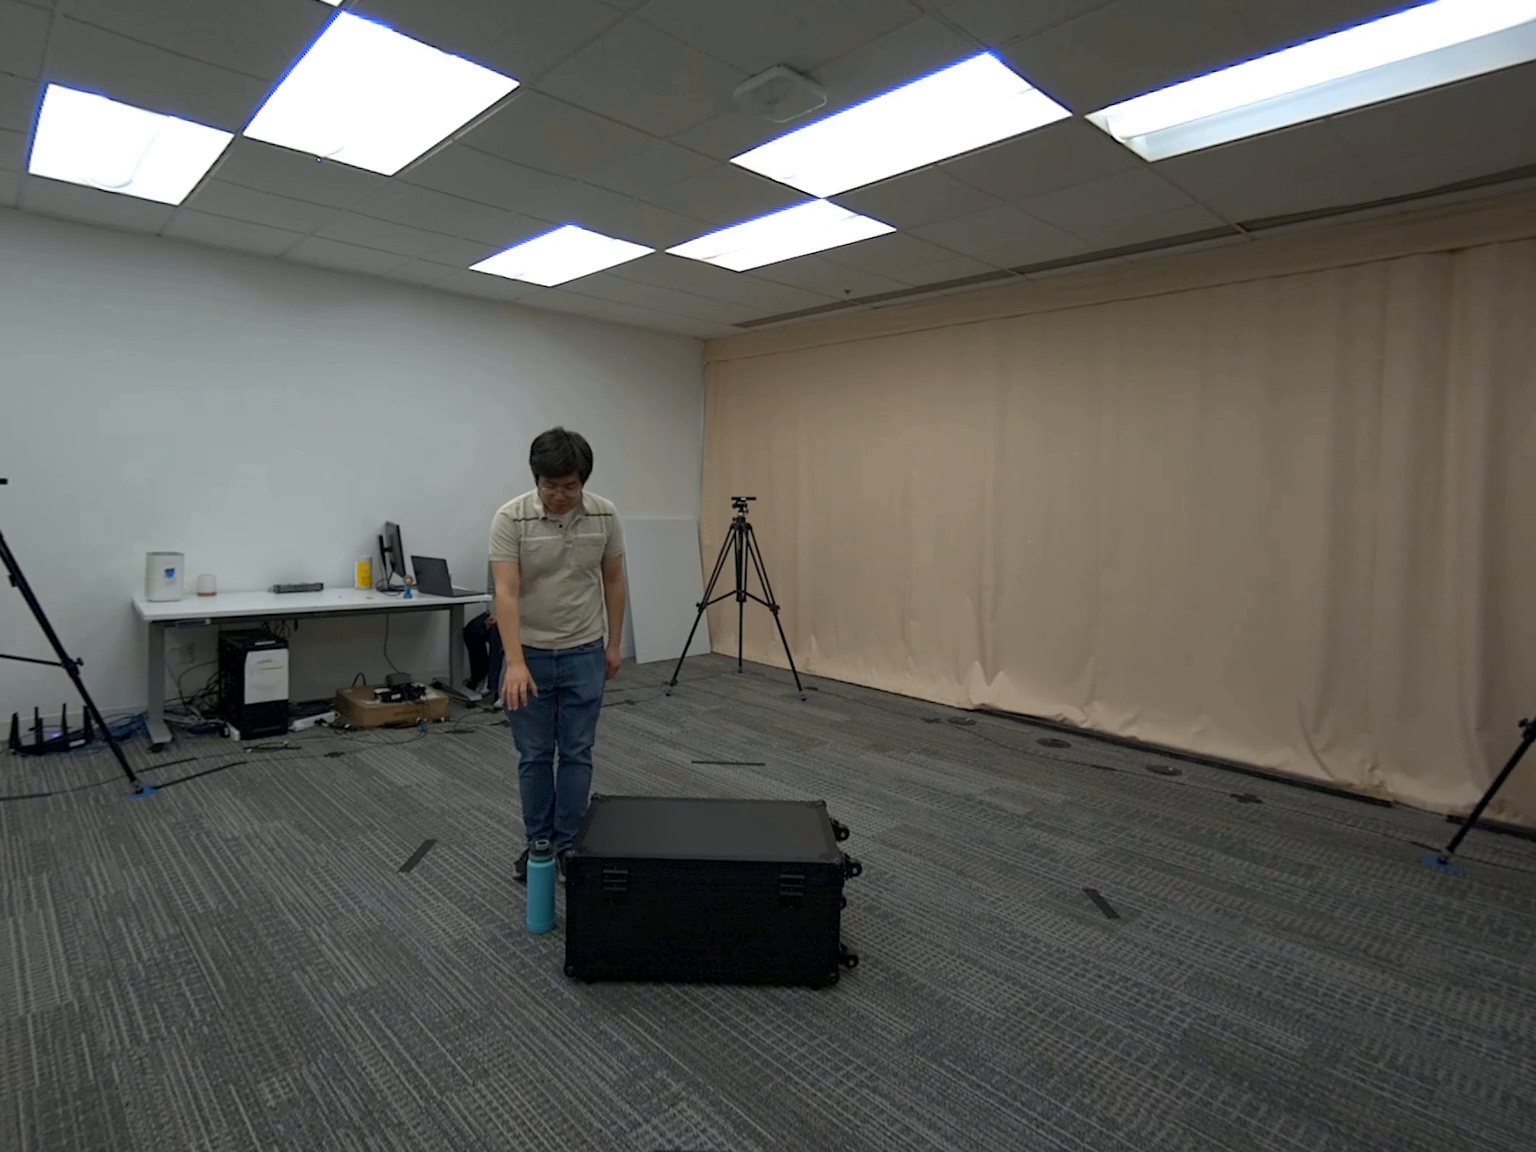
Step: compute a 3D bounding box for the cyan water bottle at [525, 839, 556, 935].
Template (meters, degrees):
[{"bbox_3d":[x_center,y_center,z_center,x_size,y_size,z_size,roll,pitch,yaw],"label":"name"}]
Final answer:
[{"bbox_3d":[-0.725,0.990,2.699,0.092,0.282,0.093,1,6,-2],"label":"cyan water bottle"}]
